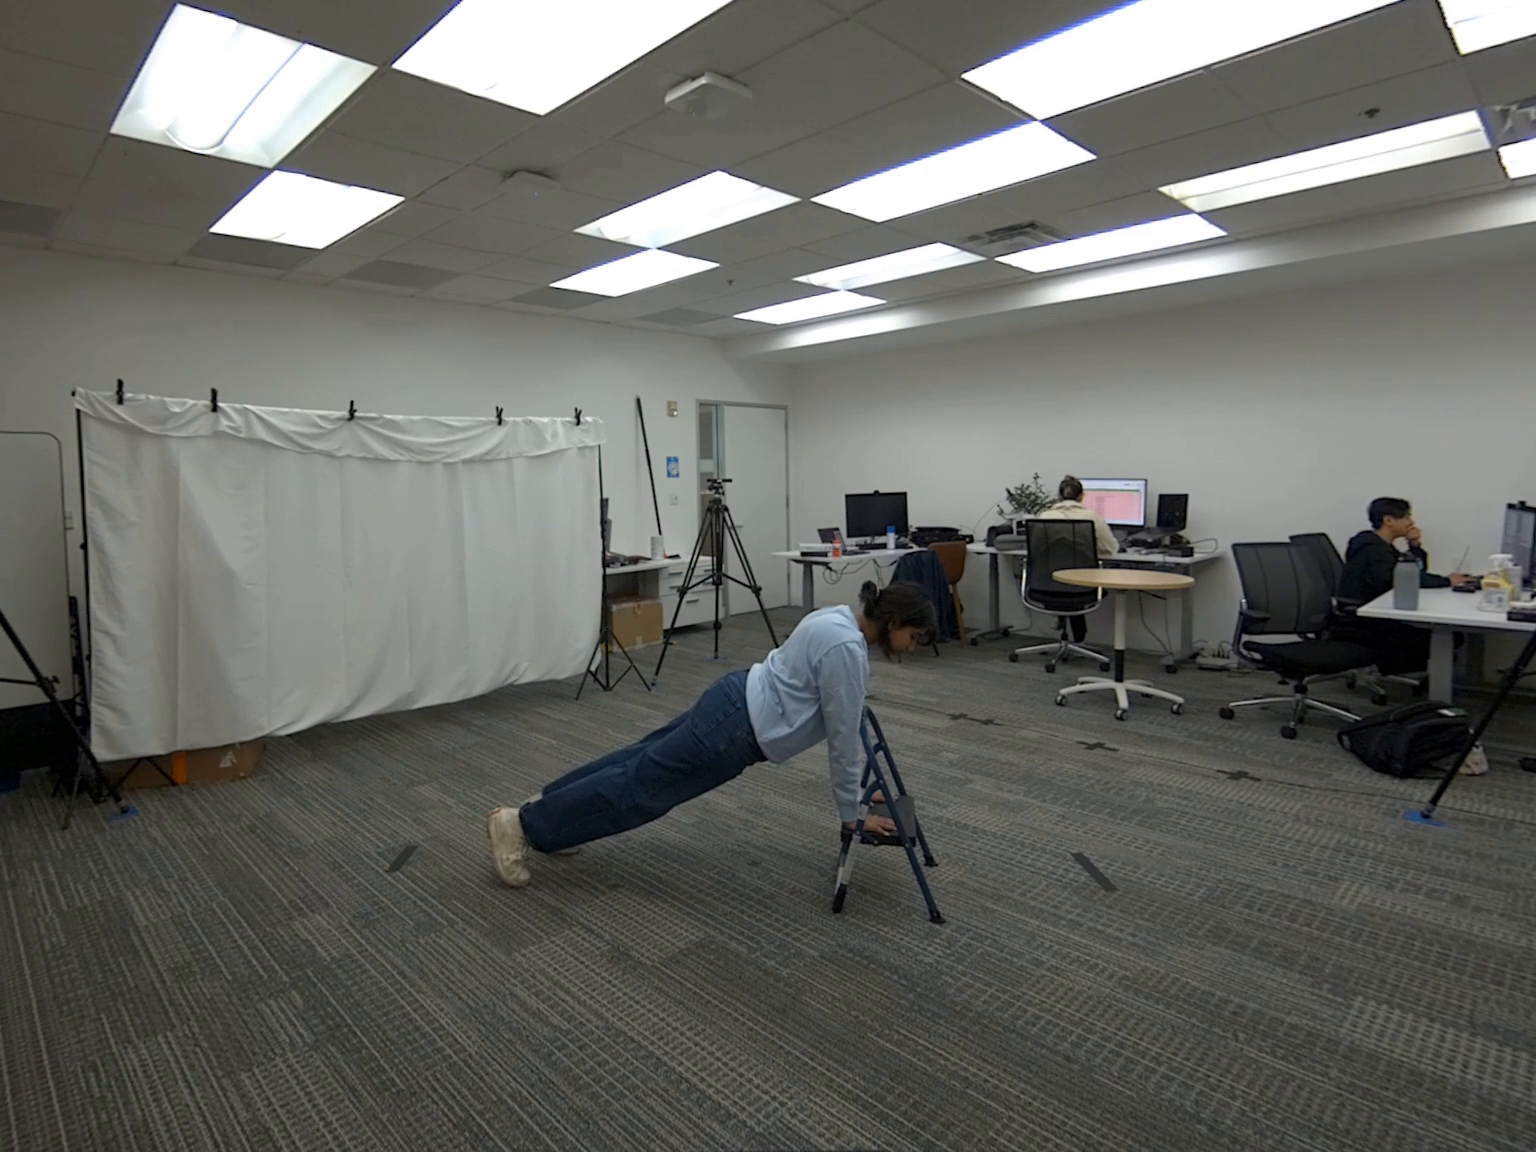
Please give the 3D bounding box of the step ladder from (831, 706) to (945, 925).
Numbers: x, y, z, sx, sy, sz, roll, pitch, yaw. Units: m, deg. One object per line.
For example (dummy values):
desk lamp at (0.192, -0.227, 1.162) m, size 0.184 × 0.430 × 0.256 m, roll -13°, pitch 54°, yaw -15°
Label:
step ladder at (0.402, 0.758, 2.889) m, size 0.353 × 0.604 × 0.428 m, roll 0°, pitch 4°, yaw 9°
